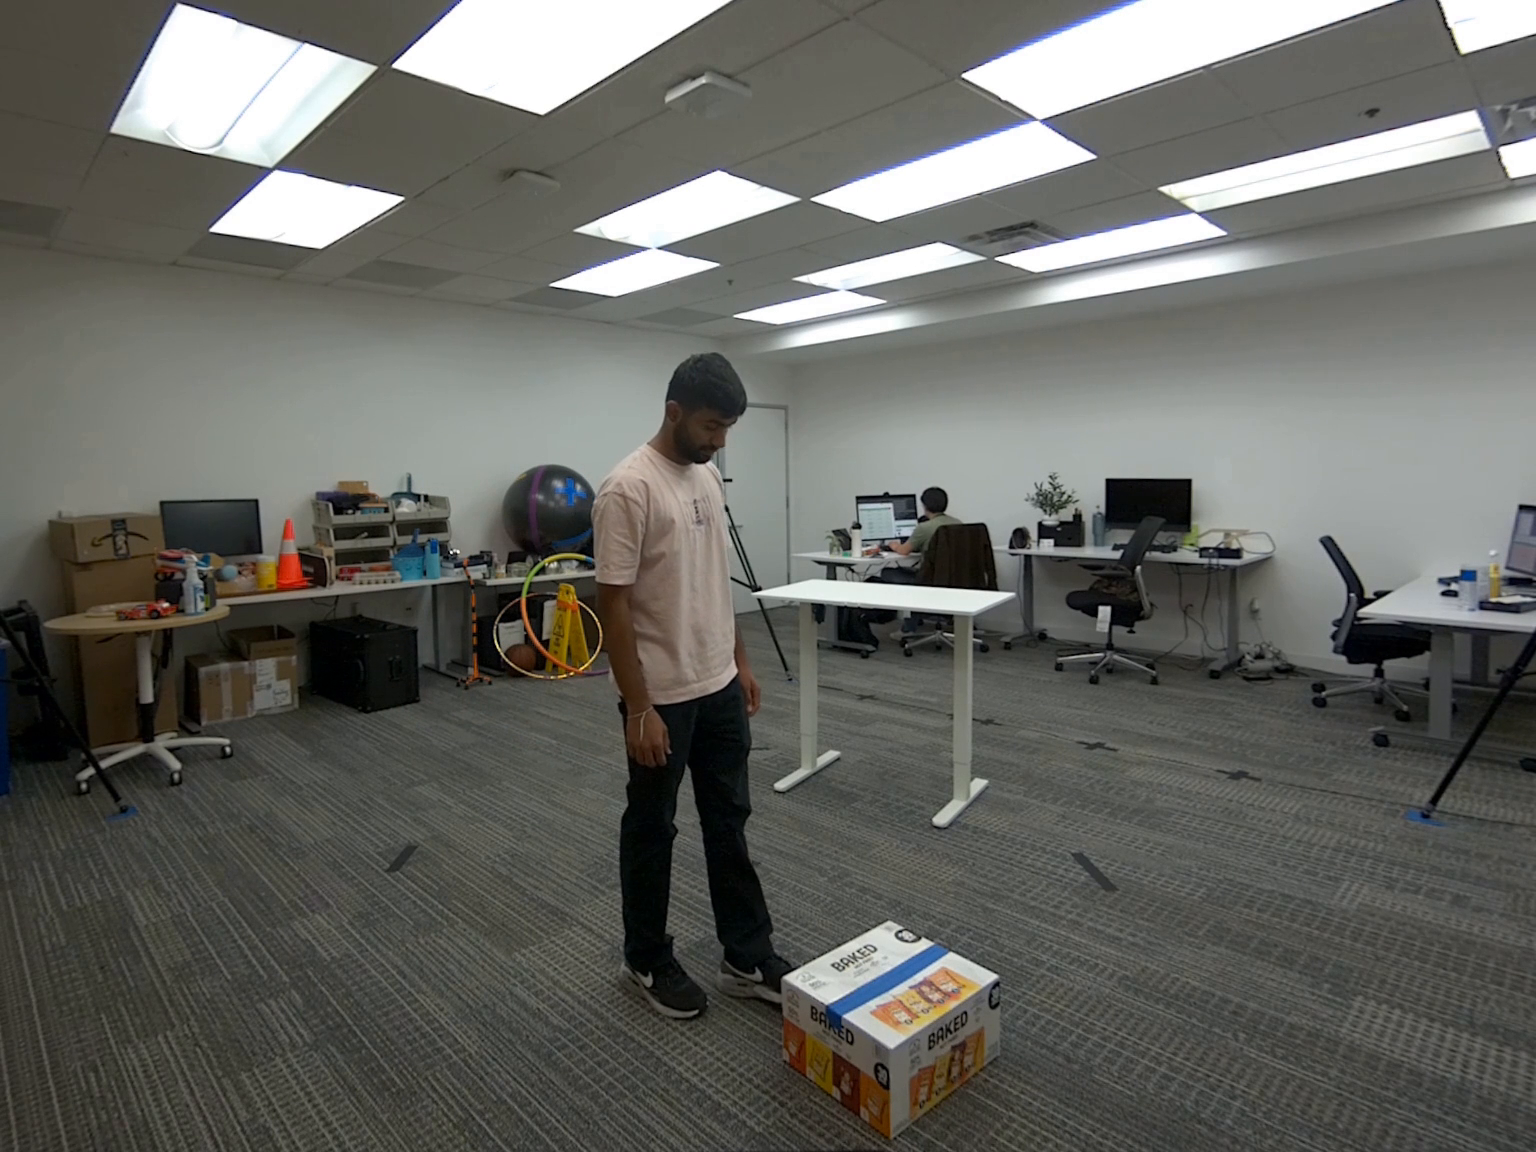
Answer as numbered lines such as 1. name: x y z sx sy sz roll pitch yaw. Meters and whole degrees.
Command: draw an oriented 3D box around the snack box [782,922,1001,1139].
1. snack box: 0.302 1.064 2.046 0.395 0.205 0.351 -6 8 -40
